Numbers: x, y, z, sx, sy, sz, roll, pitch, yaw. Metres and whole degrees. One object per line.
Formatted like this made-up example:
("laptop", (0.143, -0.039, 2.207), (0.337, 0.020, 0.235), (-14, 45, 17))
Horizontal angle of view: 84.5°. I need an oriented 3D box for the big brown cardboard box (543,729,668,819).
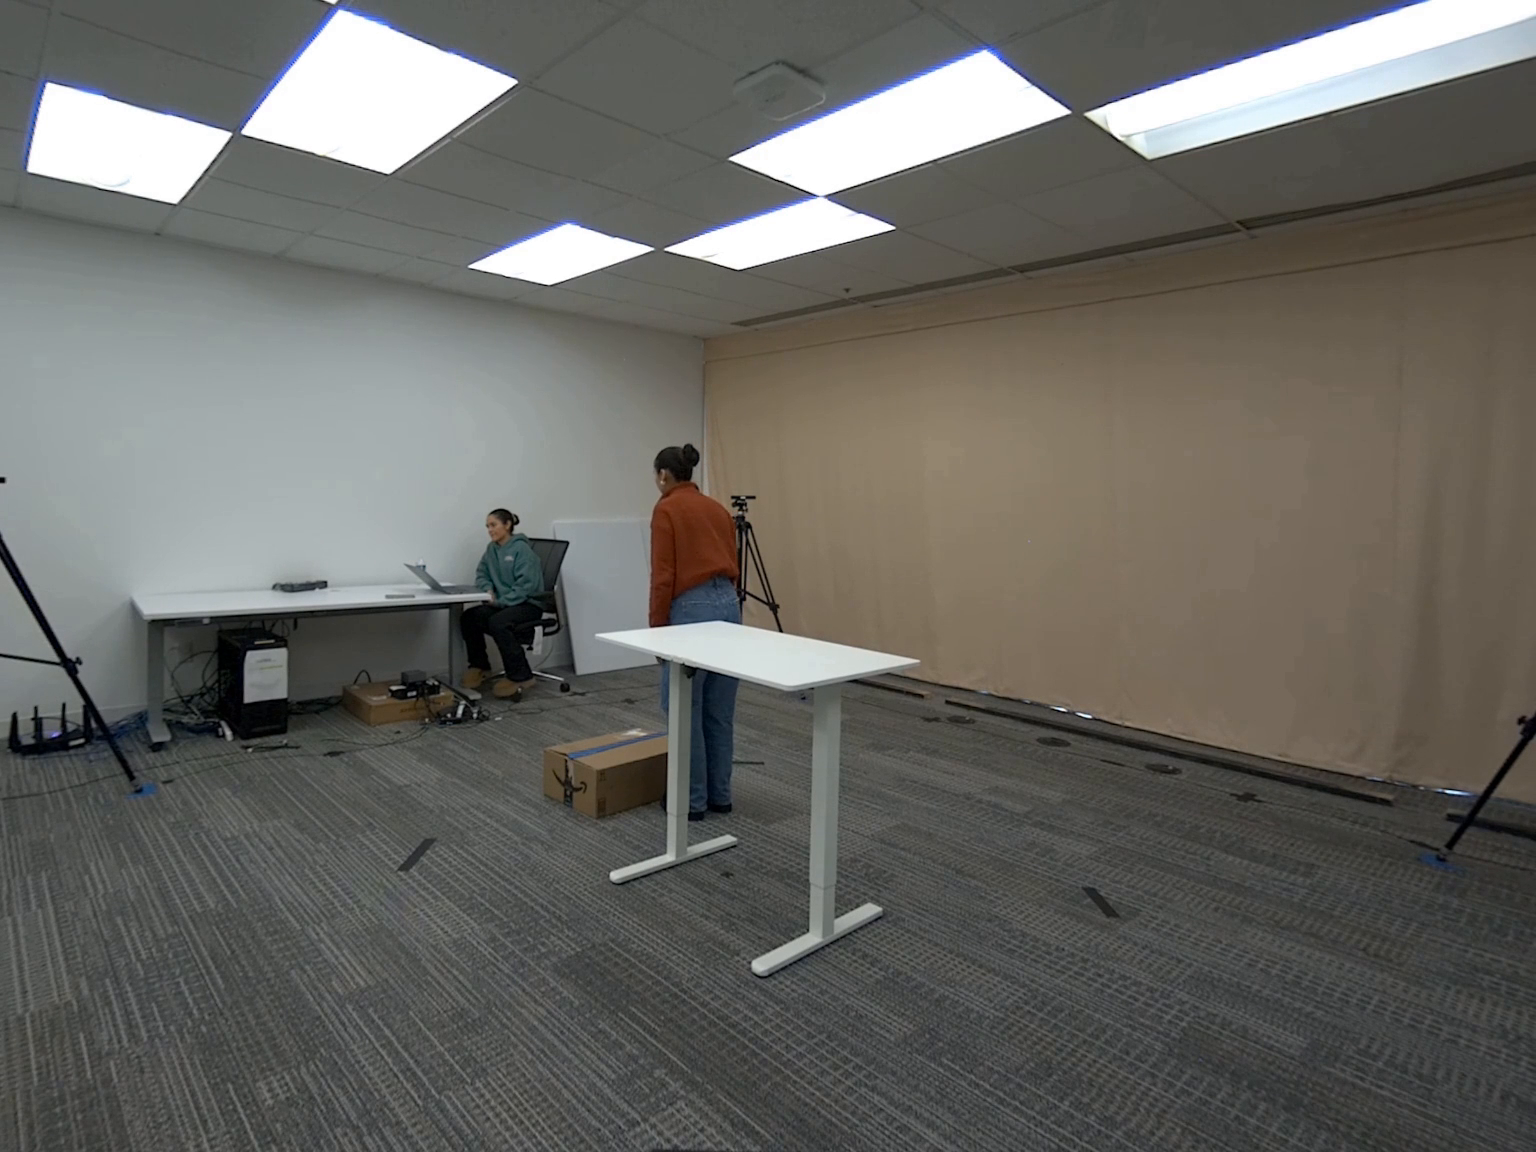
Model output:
("big brown cardboard box", (-0.702, 0.902, 3.945), (0.428, 0.232, 0.576), (5, 7, 42))
